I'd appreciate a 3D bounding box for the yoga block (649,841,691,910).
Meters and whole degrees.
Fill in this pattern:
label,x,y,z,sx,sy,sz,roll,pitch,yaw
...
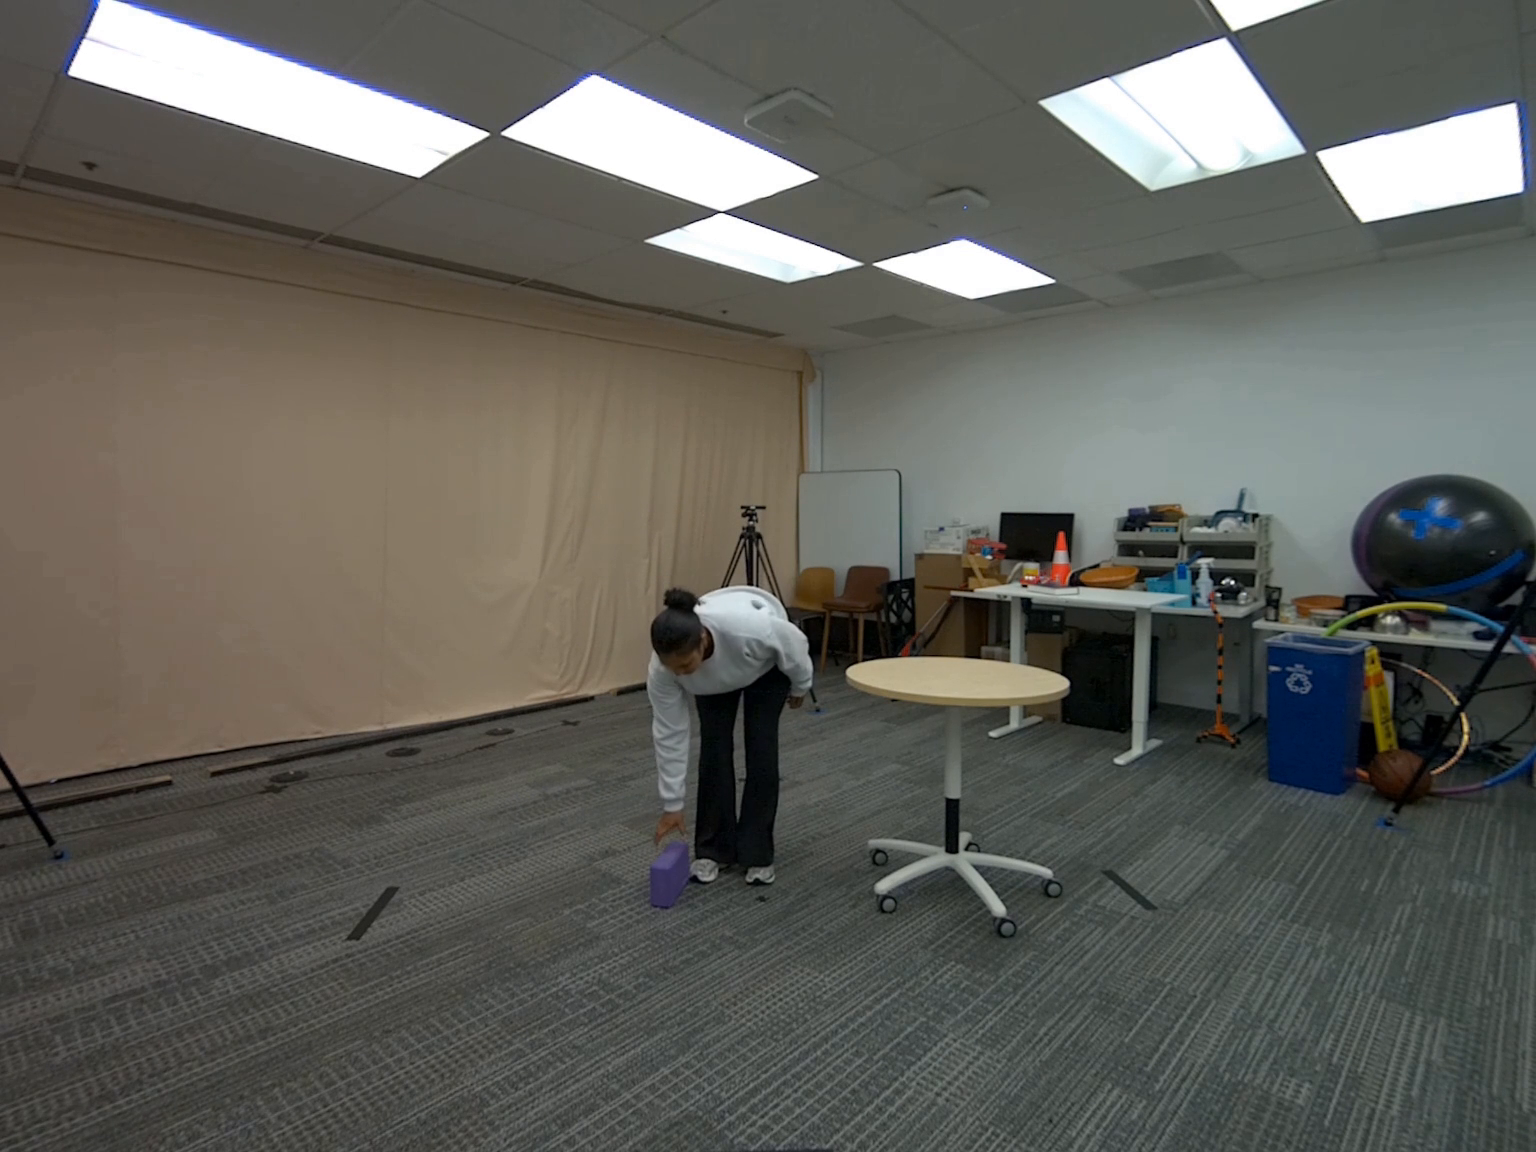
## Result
label,x,y,z,sx,sy,sz,roll,pitch,yaw
yoga block,-0.353,1.070,3.017,0.077,0.148,0.227,-2,5,13
